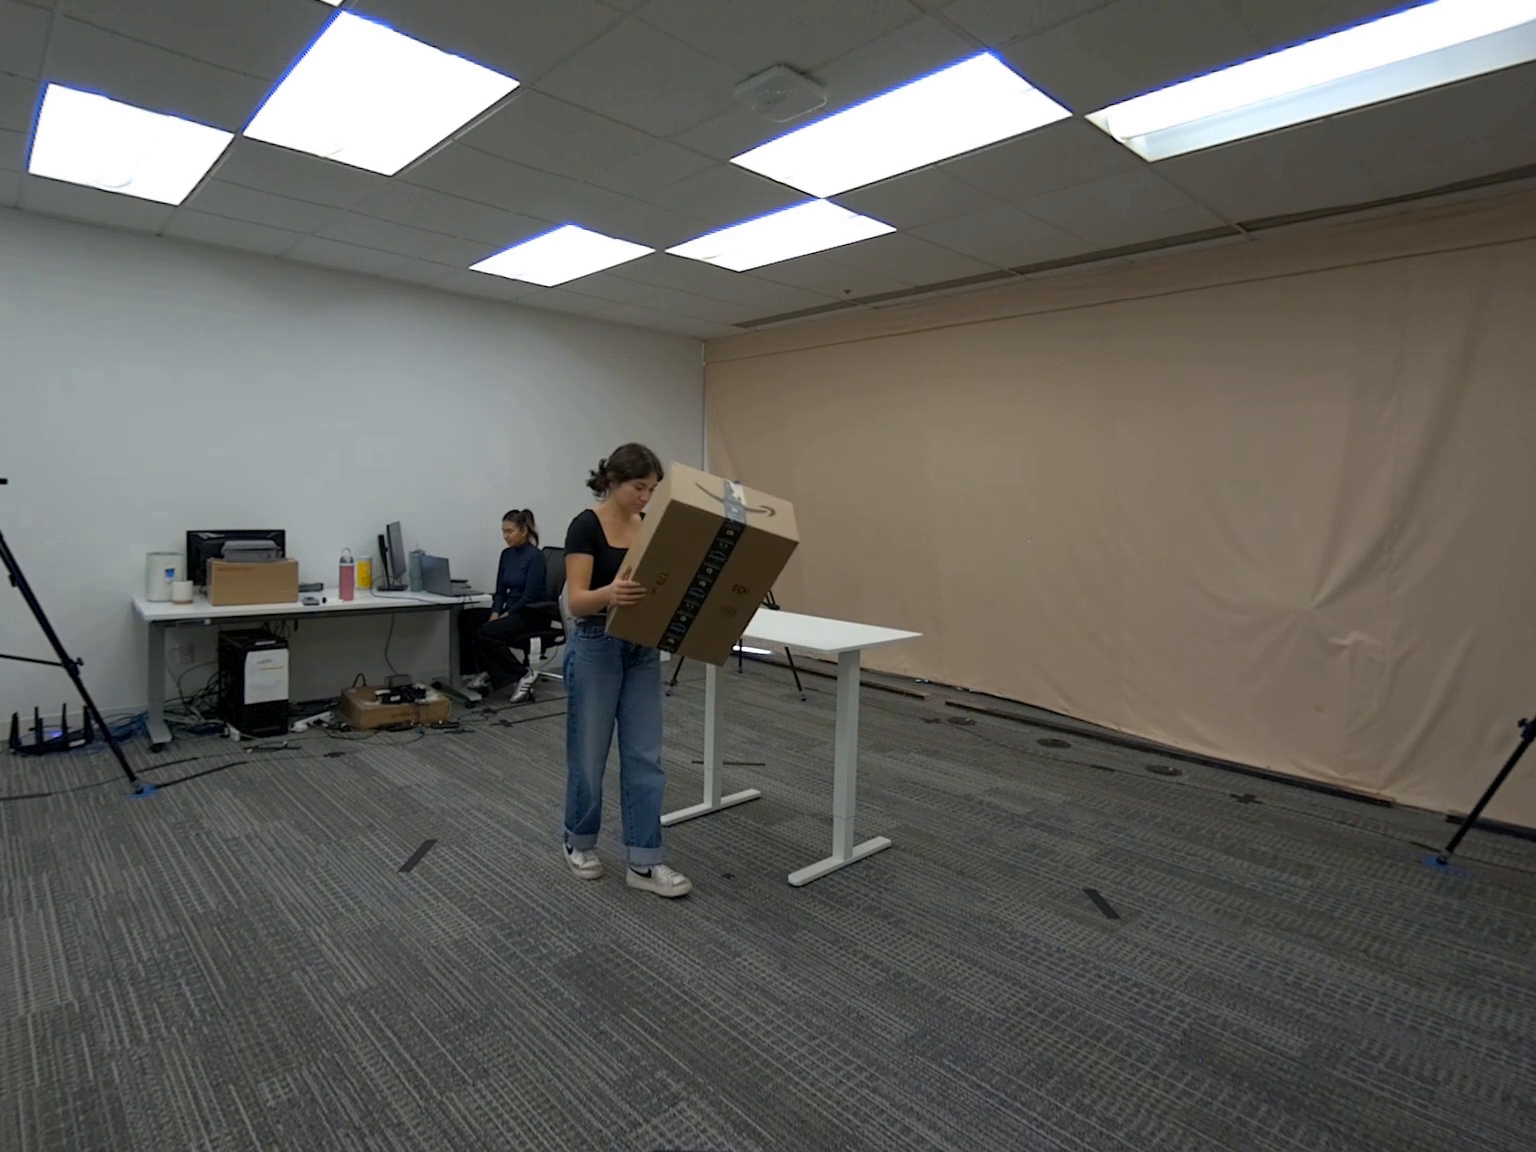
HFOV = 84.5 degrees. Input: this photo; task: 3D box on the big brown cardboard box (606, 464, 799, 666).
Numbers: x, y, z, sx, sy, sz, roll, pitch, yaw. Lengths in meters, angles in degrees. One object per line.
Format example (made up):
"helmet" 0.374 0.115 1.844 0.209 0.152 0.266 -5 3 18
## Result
"big brown cardboard box" -0.230 -0.018 2.691 0.411 0.585 0.238 19 35 -17
